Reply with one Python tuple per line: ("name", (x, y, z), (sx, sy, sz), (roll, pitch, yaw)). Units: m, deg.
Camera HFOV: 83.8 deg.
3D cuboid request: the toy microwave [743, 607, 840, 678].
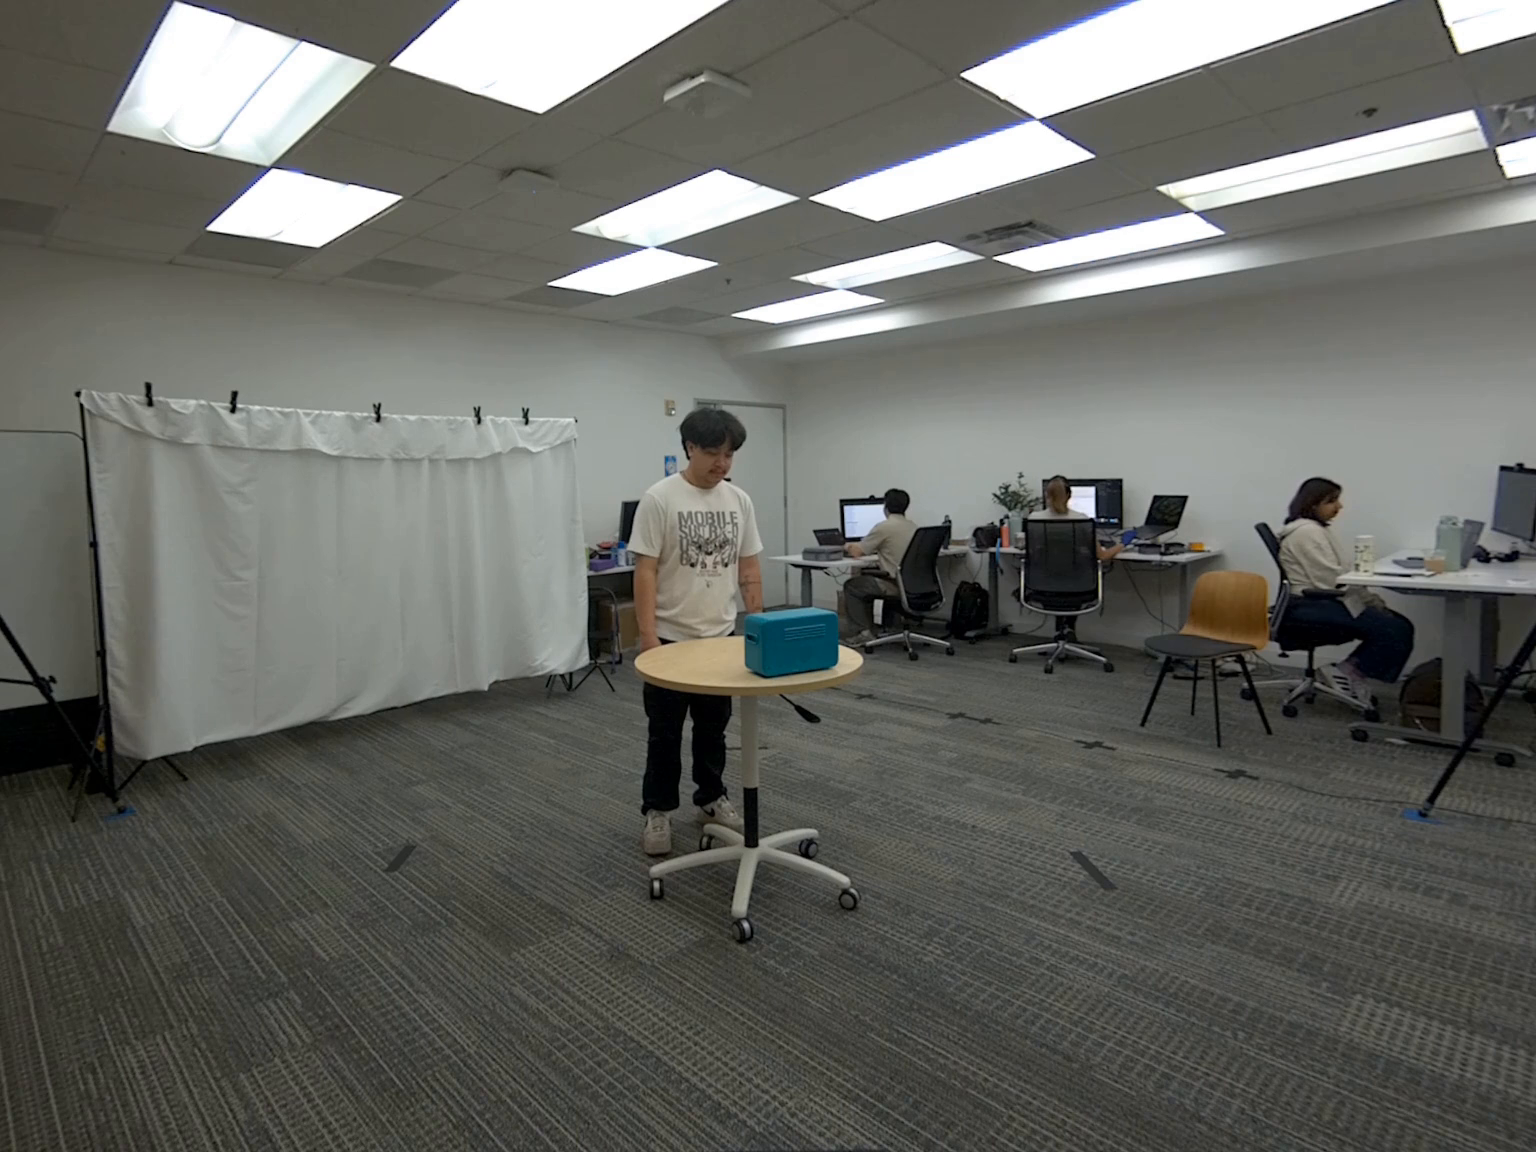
("toy microwave", (0.072, 0.204, 2.699), (0.280, 0.183, 0.156), (-4, 6, -28))
